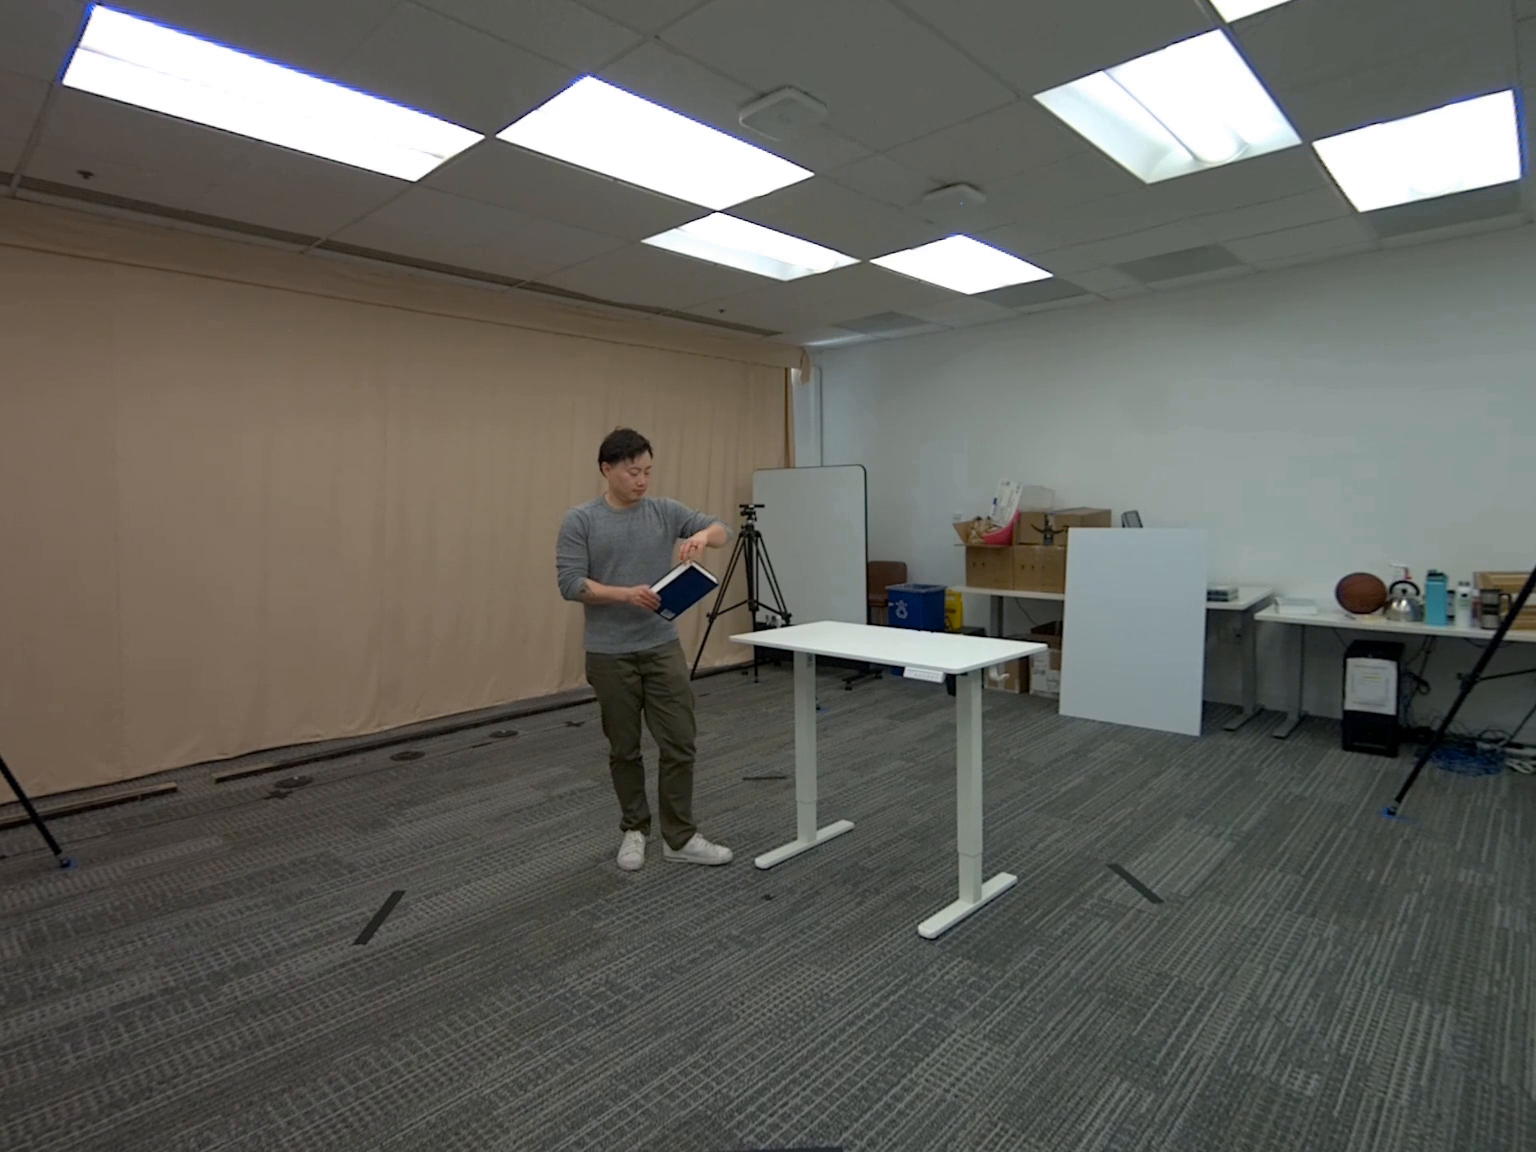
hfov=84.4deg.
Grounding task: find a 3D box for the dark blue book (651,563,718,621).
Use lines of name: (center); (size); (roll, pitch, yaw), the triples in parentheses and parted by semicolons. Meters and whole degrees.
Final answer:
dark blue book: (-0.322, 0.054, 3.072); (0.247, 0.046, 0.157); (-35, -48, 19)
